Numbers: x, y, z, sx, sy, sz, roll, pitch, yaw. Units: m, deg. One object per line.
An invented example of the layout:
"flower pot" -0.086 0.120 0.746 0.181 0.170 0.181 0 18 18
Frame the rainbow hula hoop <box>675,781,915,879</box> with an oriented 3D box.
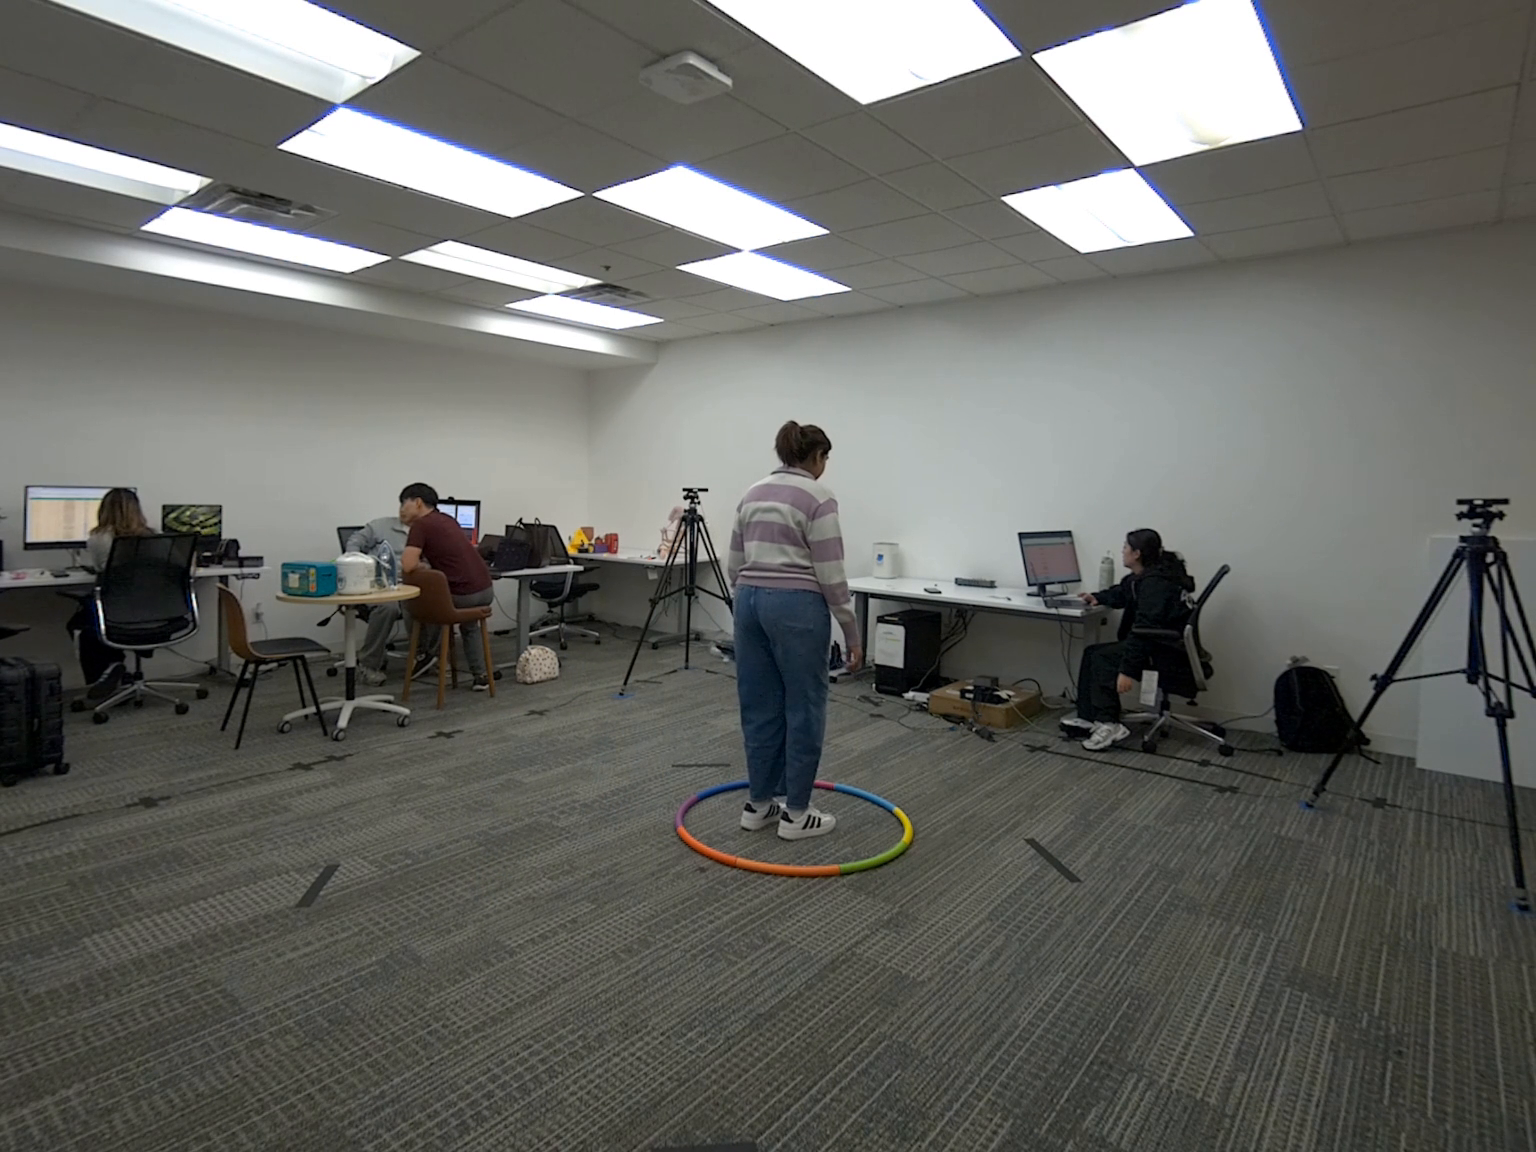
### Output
"rainbow hula hoop" 0.094 1.004 3.544 0.978 0.035 0.984 1 6 -2
